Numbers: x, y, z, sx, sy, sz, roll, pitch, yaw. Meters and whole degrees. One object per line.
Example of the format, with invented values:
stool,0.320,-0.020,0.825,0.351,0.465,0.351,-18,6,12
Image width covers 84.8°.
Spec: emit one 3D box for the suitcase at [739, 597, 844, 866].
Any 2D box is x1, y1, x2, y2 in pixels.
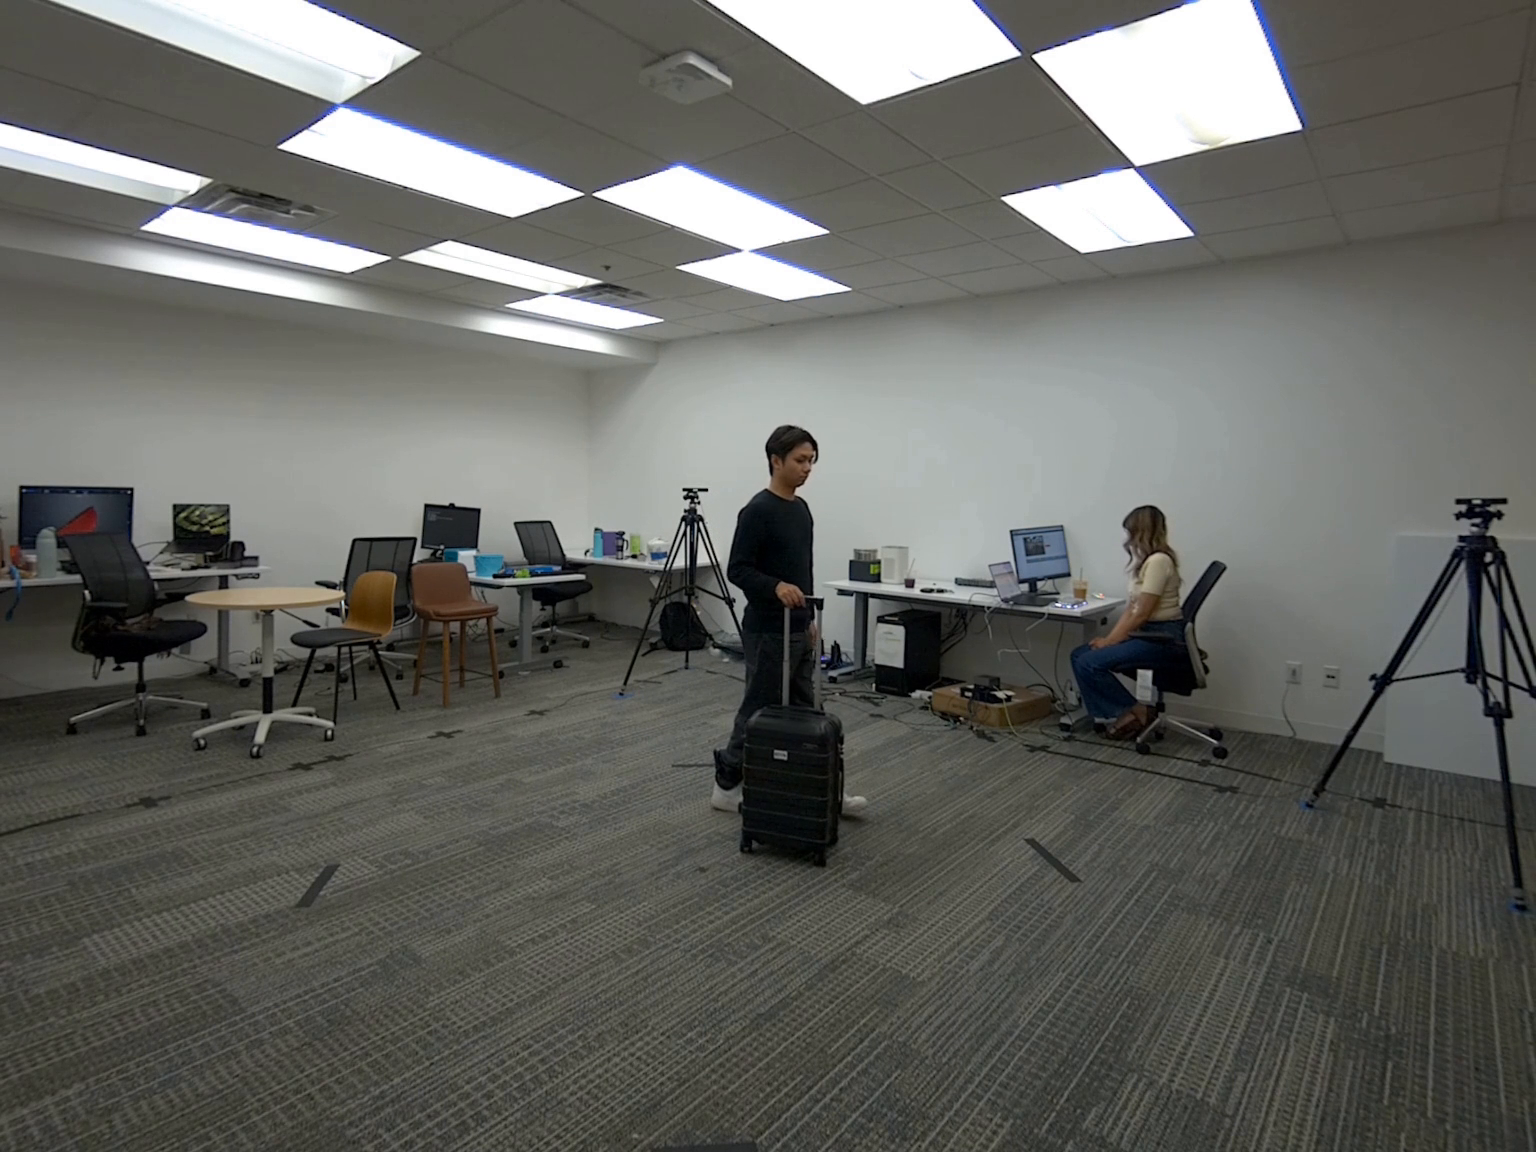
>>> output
suitcase,0.098,0.586,3.260,0.392,0.973,0.253,5,7,17
